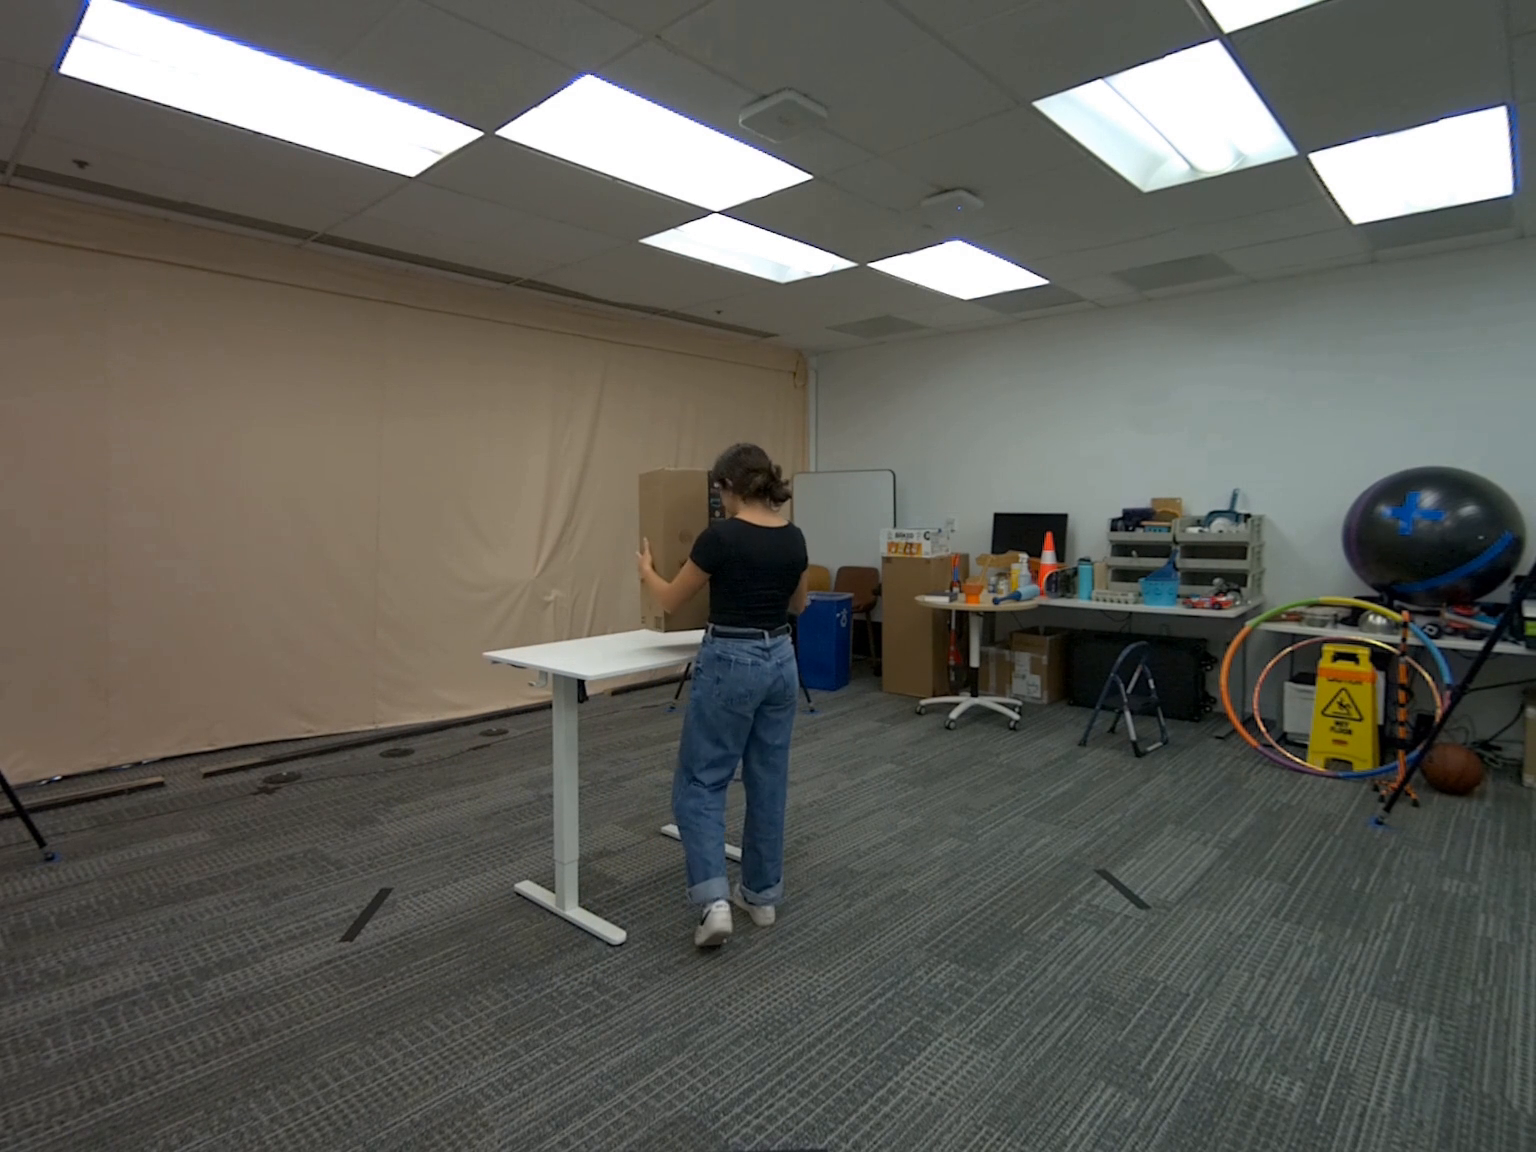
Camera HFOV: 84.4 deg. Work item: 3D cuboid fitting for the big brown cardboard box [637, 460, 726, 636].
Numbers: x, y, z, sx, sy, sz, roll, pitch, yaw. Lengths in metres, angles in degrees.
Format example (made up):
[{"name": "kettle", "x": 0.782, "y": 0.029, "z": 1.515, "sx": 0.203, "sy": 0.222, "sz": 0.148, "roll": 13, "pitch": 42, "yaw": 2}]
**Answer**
[{"name": "big brown cardboard box", "x": -0.233, "y": -0.103, "z": 3.058, "sx": 0.407, "sy": 0.589, "sz": 0.239, "roll": 0, "pitch": 0, "yaw": -27}]
